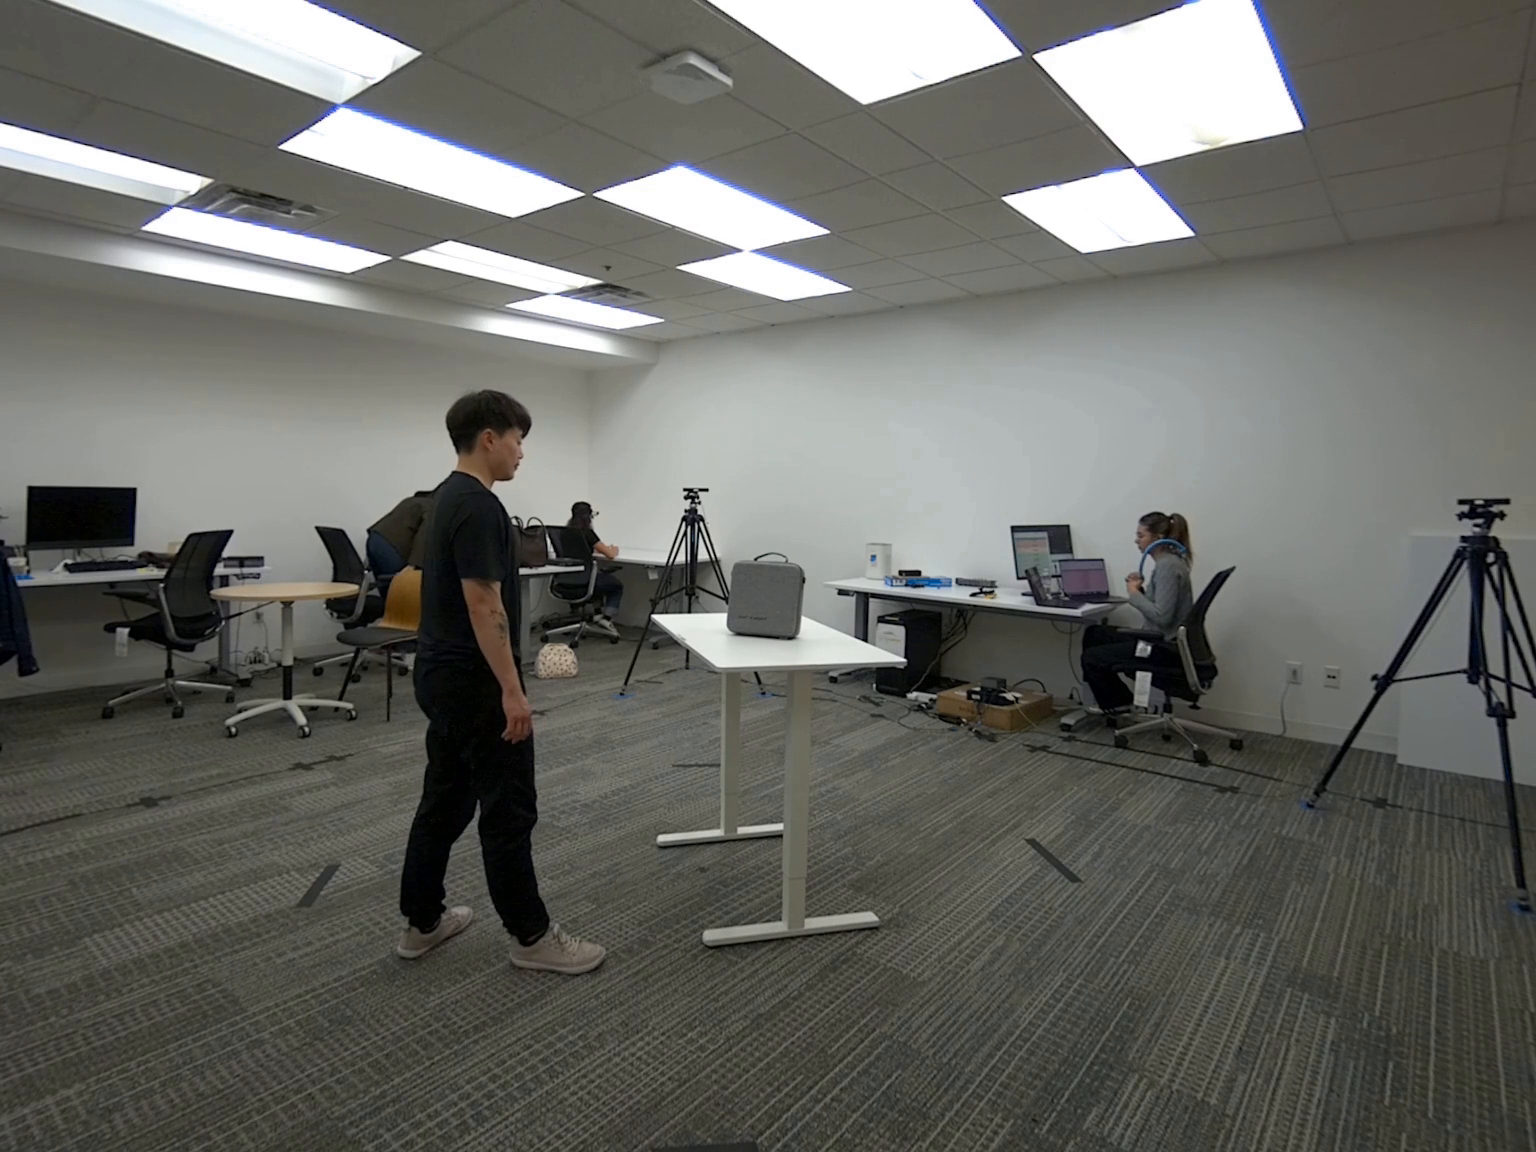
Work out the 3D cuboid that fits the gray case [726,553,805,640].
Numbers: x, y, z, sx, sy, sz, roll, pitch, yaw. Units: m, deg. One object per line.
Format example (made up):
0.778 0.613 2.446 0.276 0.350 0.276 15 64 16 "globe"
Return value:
-0.018 0.077 2.967 0.262 0.262 0.101 4 -7 18 "gray case"
